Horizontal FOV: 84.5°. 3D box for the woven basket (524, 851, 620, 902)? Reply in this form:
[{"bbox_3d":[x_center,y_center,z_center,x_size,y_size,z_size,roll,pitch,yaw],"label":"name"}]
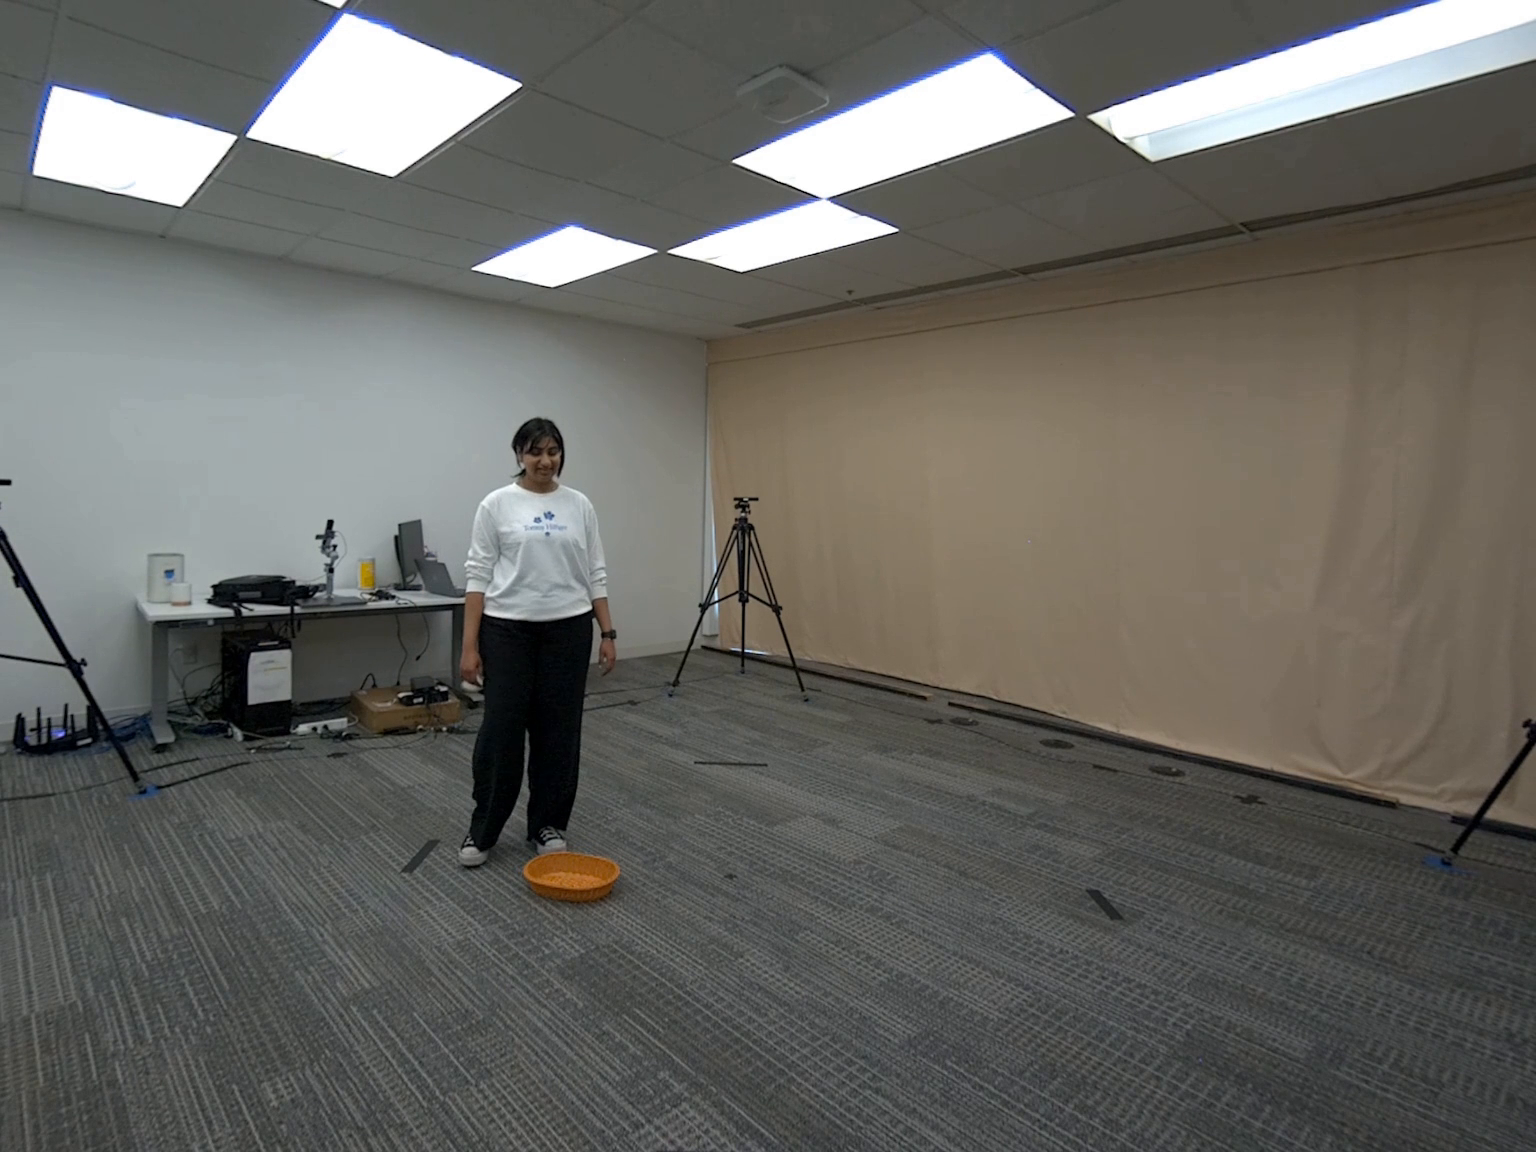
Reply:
[{"bbox_3d":[-0.698,1.069,2.973,0.356,0.073,0.249,3,7,19],"label":"woven basket"}]
